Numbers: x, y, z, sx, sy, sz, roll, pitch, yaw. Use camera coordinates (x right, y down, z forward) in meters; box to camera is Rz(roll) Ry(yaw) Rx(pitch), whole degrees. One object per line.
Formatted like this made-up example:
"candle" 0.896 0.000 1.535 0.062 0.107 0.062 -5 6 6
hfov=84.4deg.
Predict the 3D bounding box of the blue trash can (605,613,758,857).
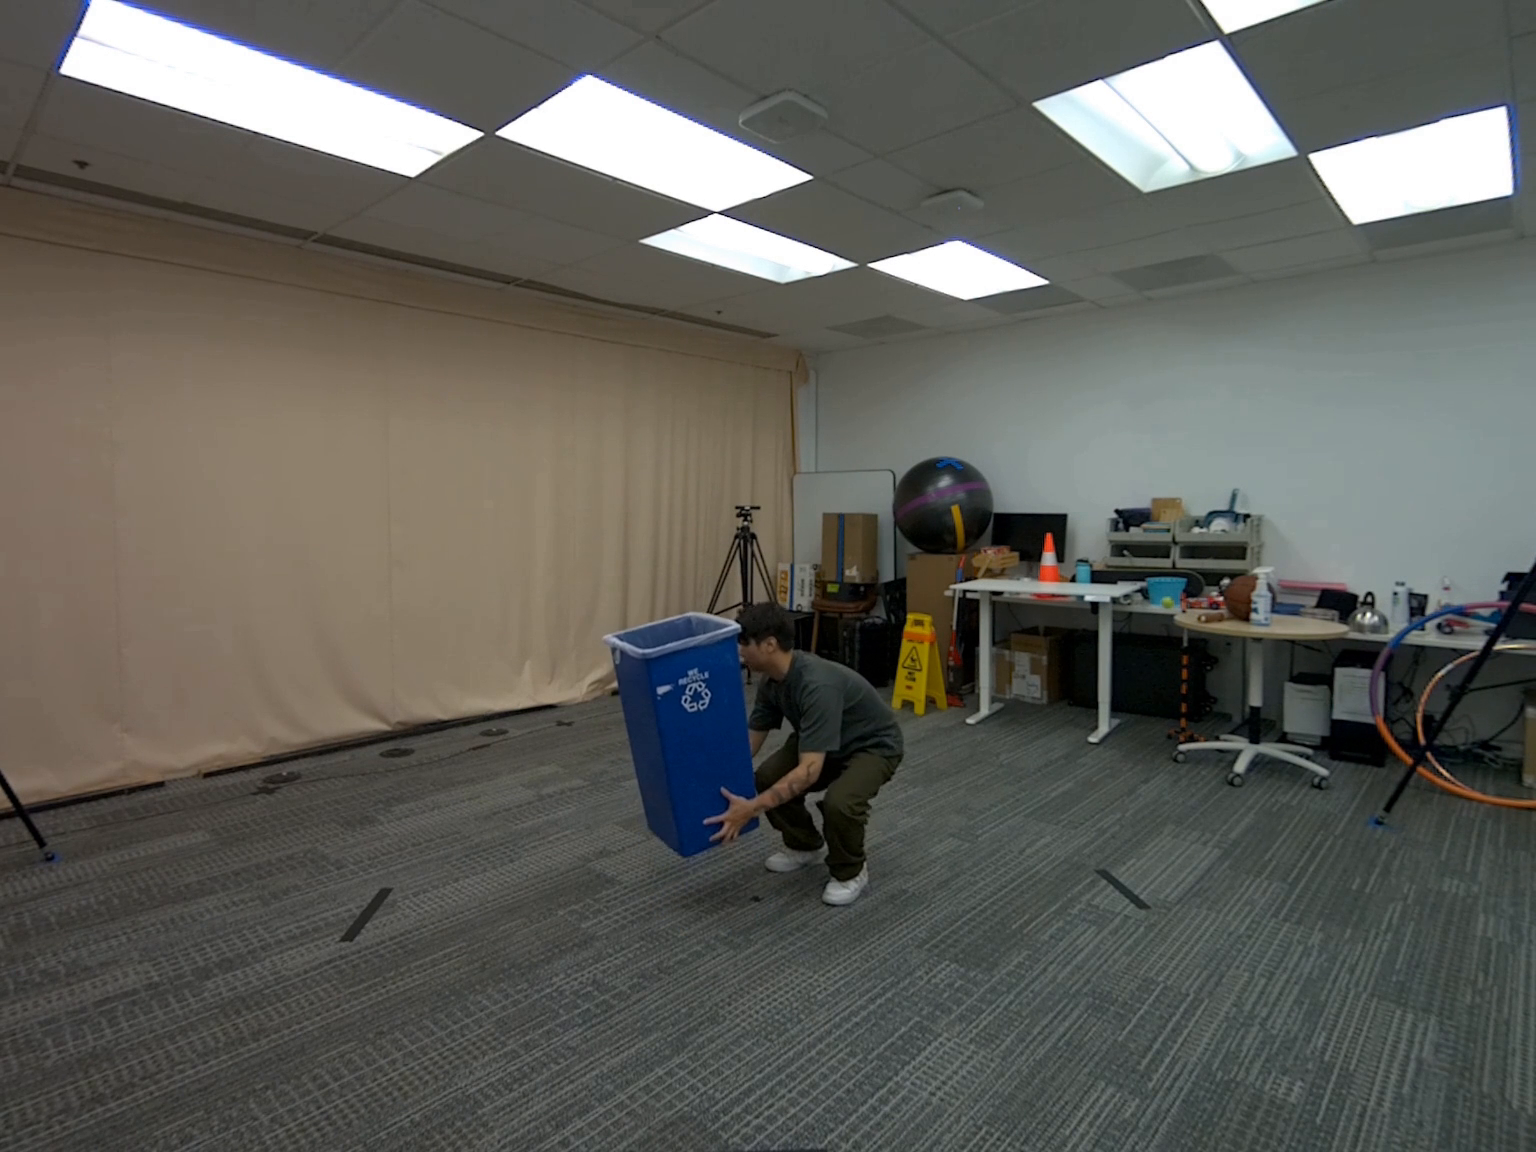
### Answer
"blue trash can" -0.265 0.526 2.883 0.369 0.709 0.385 -13 9 -29
